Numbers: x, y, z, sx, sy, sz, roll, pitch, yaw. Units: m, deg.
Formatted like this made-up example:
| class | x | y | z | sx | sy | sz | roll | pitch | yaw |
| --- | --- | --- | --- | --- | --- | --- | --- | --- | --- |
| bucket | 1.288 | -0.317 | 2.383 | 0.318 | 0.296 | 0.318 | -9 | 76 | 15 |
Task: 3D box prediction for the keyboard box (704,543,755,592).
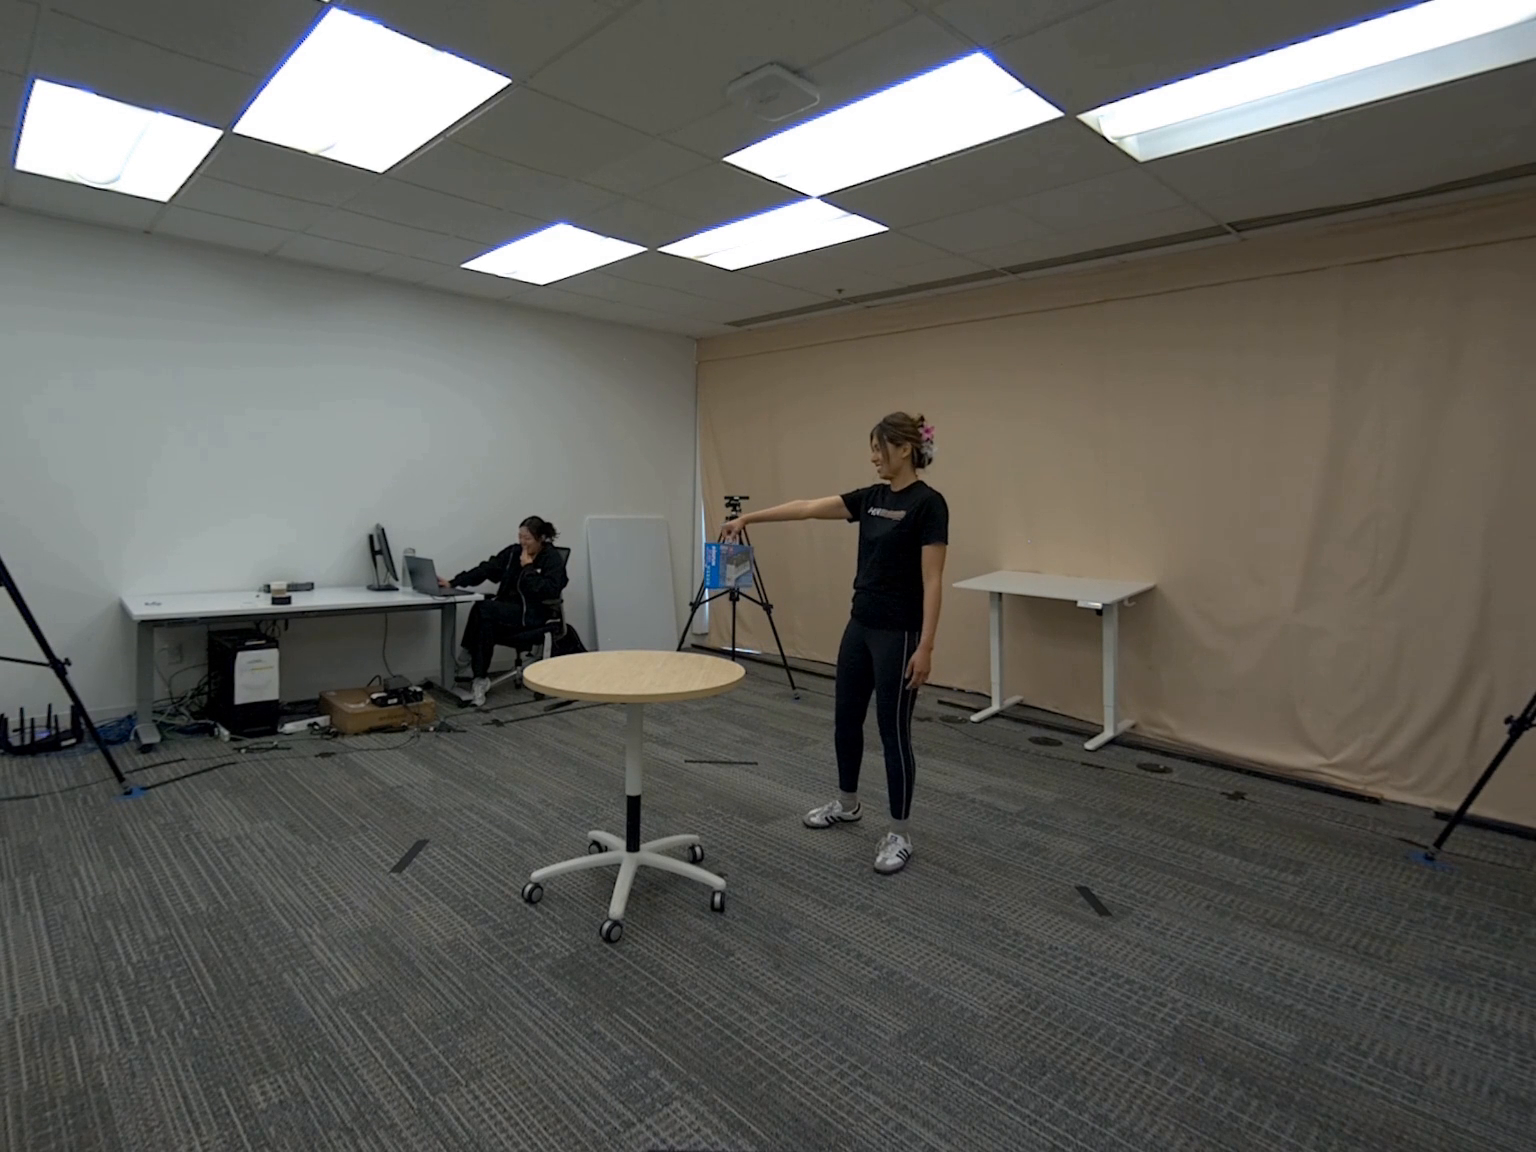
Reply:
| class | x | y | z | sx | sy | sz | roll | pitch | yaw |
| --- | --- | --- | --- | --- | --- | --- | --- | --- | --- |
| keyboard box | -0.156 | -0.040 | 3.350 | 0.060 | 0.176 | 0.430 | 1 | 0 | 17 |
